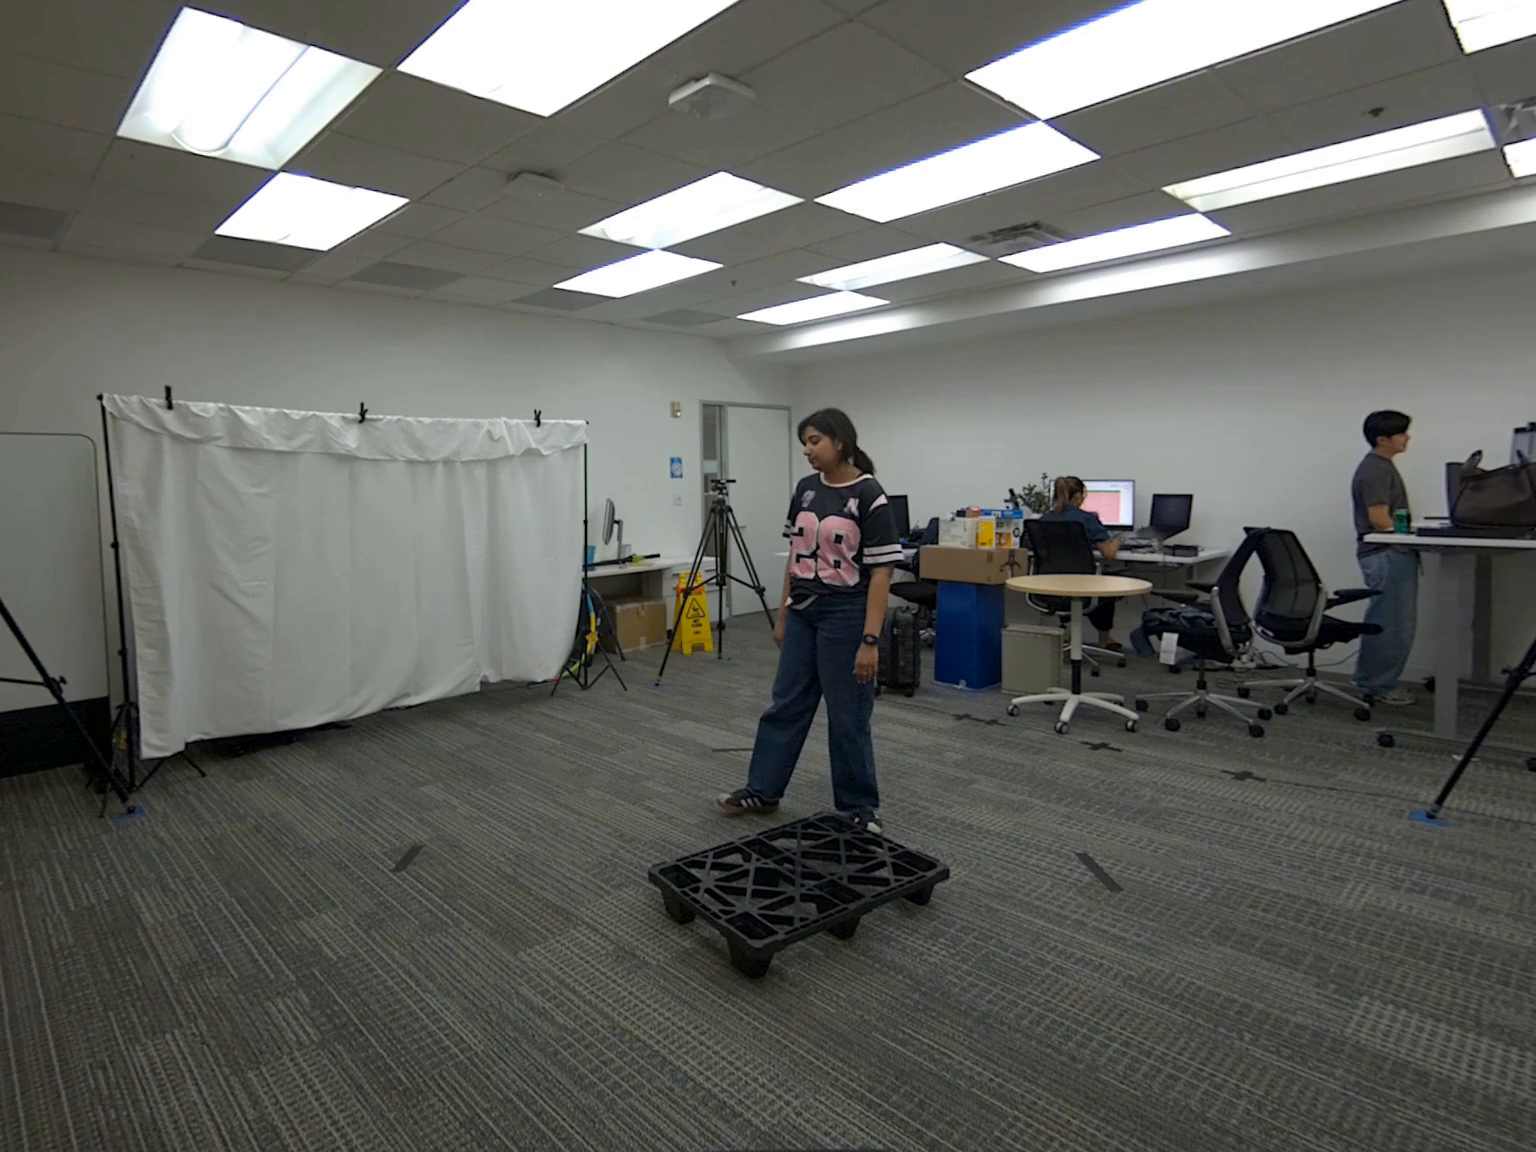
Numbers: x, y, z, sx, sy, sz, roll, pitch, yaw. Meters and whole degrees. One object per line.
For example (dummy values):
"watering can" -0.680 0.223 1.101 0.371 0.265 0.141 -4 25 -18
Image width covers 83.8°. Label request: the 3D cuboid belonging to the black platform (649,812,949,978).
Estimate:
"black platform" 0.106 1.016 2.782 0.785 0.142 0.624 -7 9 -36
